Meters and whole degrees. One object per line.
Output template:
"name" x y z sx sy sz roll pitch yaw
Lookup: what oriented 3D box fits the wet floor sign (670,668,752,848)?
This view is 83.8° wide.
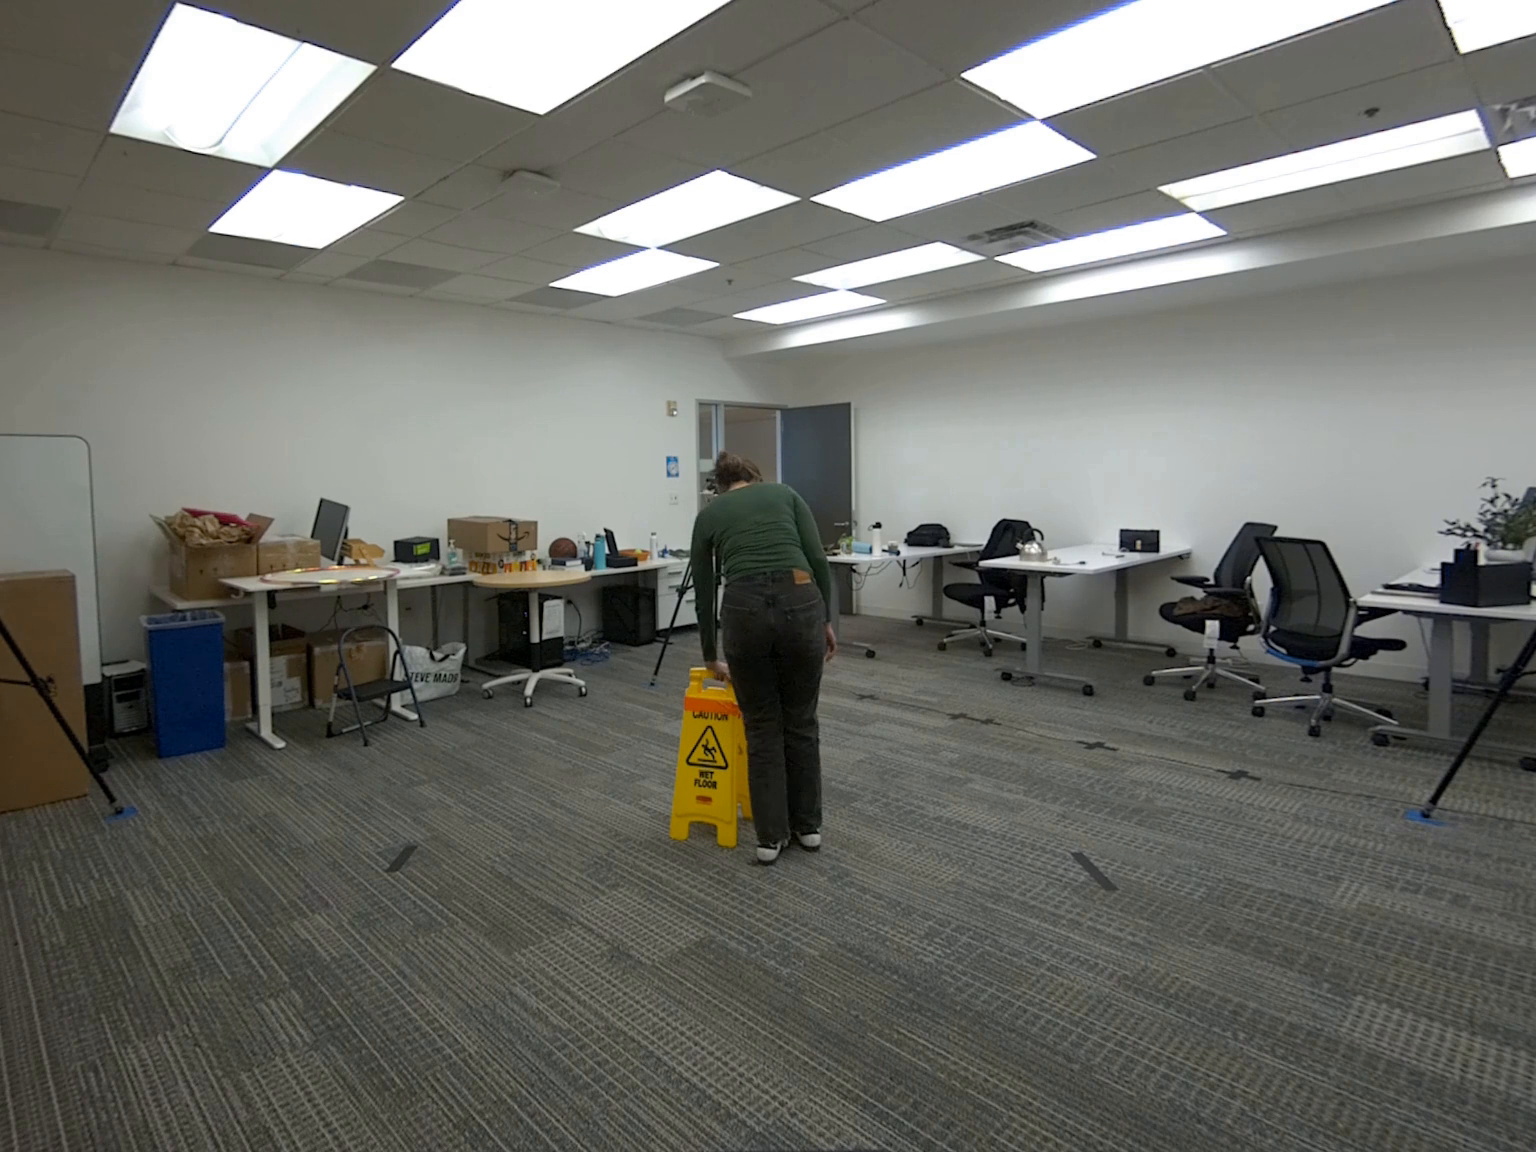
"wet floor sign" -0.218 0.690 3.407 0.288 0.644 0.285 0 4 20
